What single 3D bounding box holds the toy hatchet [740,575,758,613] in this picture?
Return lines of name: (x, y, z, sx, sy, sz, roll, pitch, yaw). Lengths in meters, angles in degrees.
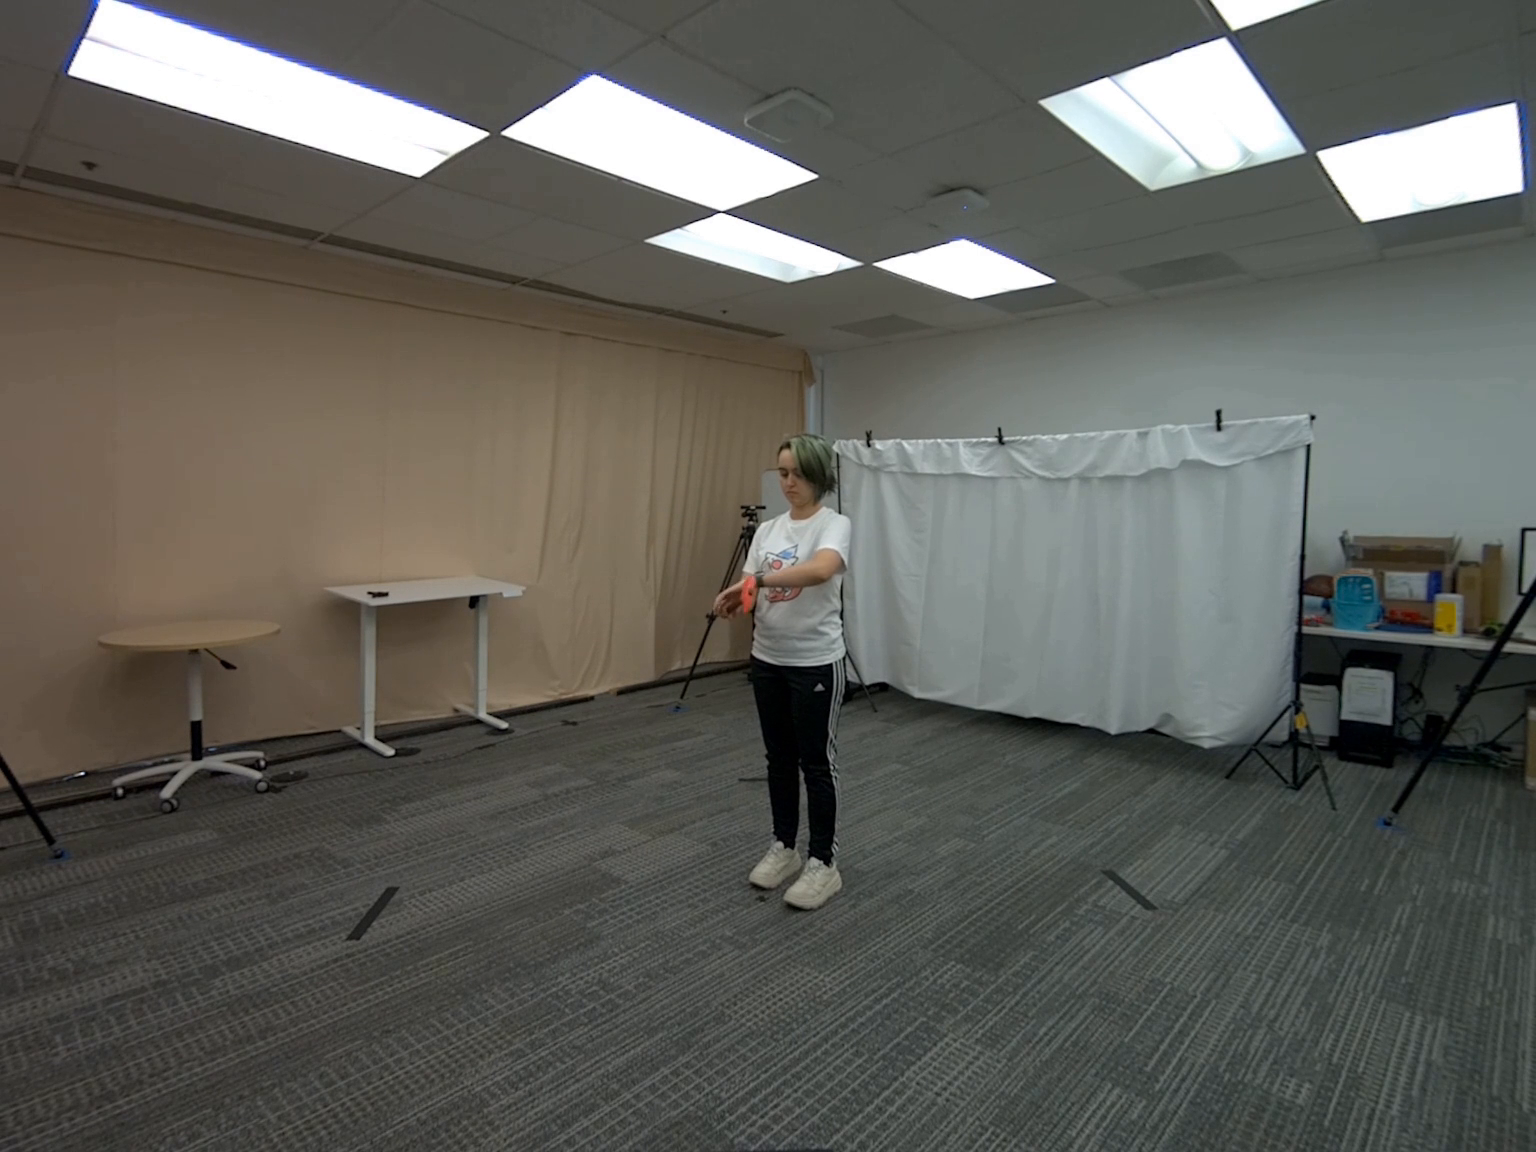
toy hatchet: (-0.088, 0.059, 2.774, 0.029, 0.131, 0.273, 16, -8, -15)
